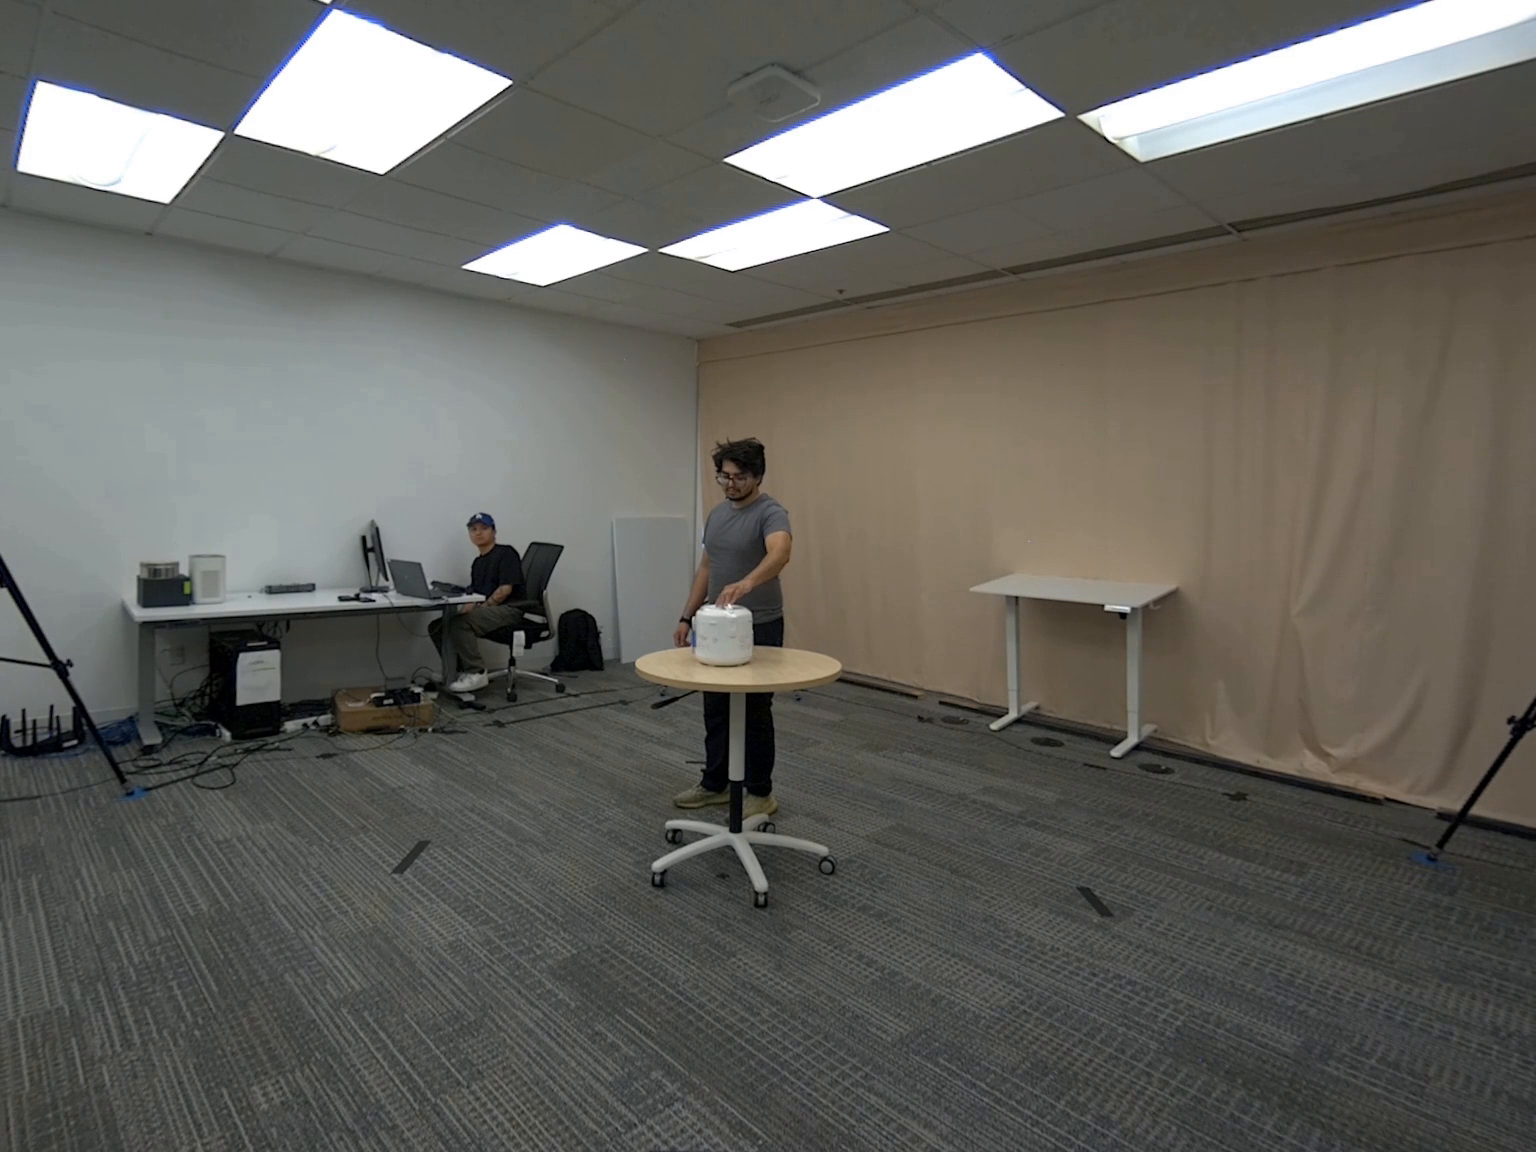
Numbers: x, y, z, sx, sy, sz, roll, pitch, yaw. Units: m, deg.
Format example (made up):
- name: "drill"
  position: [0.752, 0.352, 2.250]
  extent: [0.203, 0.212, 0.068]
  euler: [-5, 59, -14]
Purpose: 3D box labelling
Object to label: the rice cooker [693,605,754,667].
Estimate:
- name: "rice cooker"
  position: [-0.174, 0.205, 3.128]
  extent: [0.214, 0.232, 0.224]
  euler: [-1, 5, -19]
